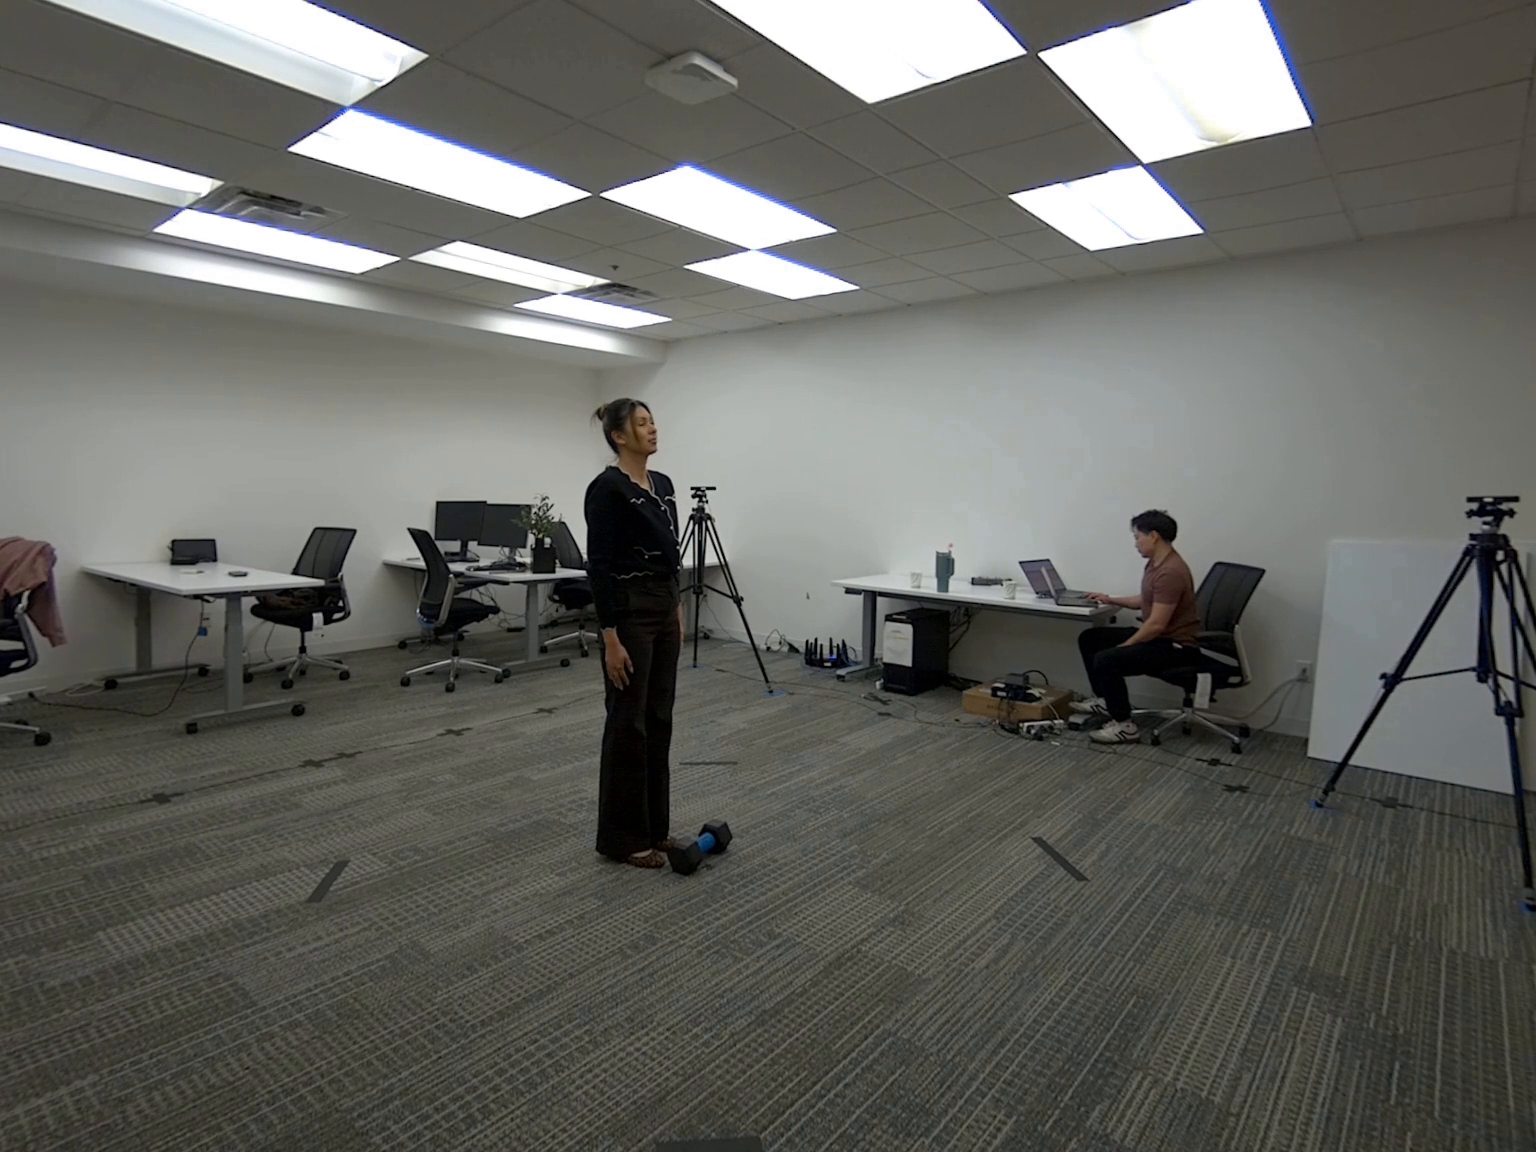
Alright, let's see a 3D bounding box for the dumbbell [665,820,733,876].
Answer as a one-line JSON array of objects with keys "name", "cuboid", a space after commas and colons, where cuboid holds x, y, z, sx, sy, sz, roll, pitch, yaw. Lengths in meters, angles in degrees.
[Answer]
[{"name": "dumbbell", "cuboid": [-0.262, 1.008, 3.168, 0.126, 0.108, 0.286, 6, 7, 28]}]
